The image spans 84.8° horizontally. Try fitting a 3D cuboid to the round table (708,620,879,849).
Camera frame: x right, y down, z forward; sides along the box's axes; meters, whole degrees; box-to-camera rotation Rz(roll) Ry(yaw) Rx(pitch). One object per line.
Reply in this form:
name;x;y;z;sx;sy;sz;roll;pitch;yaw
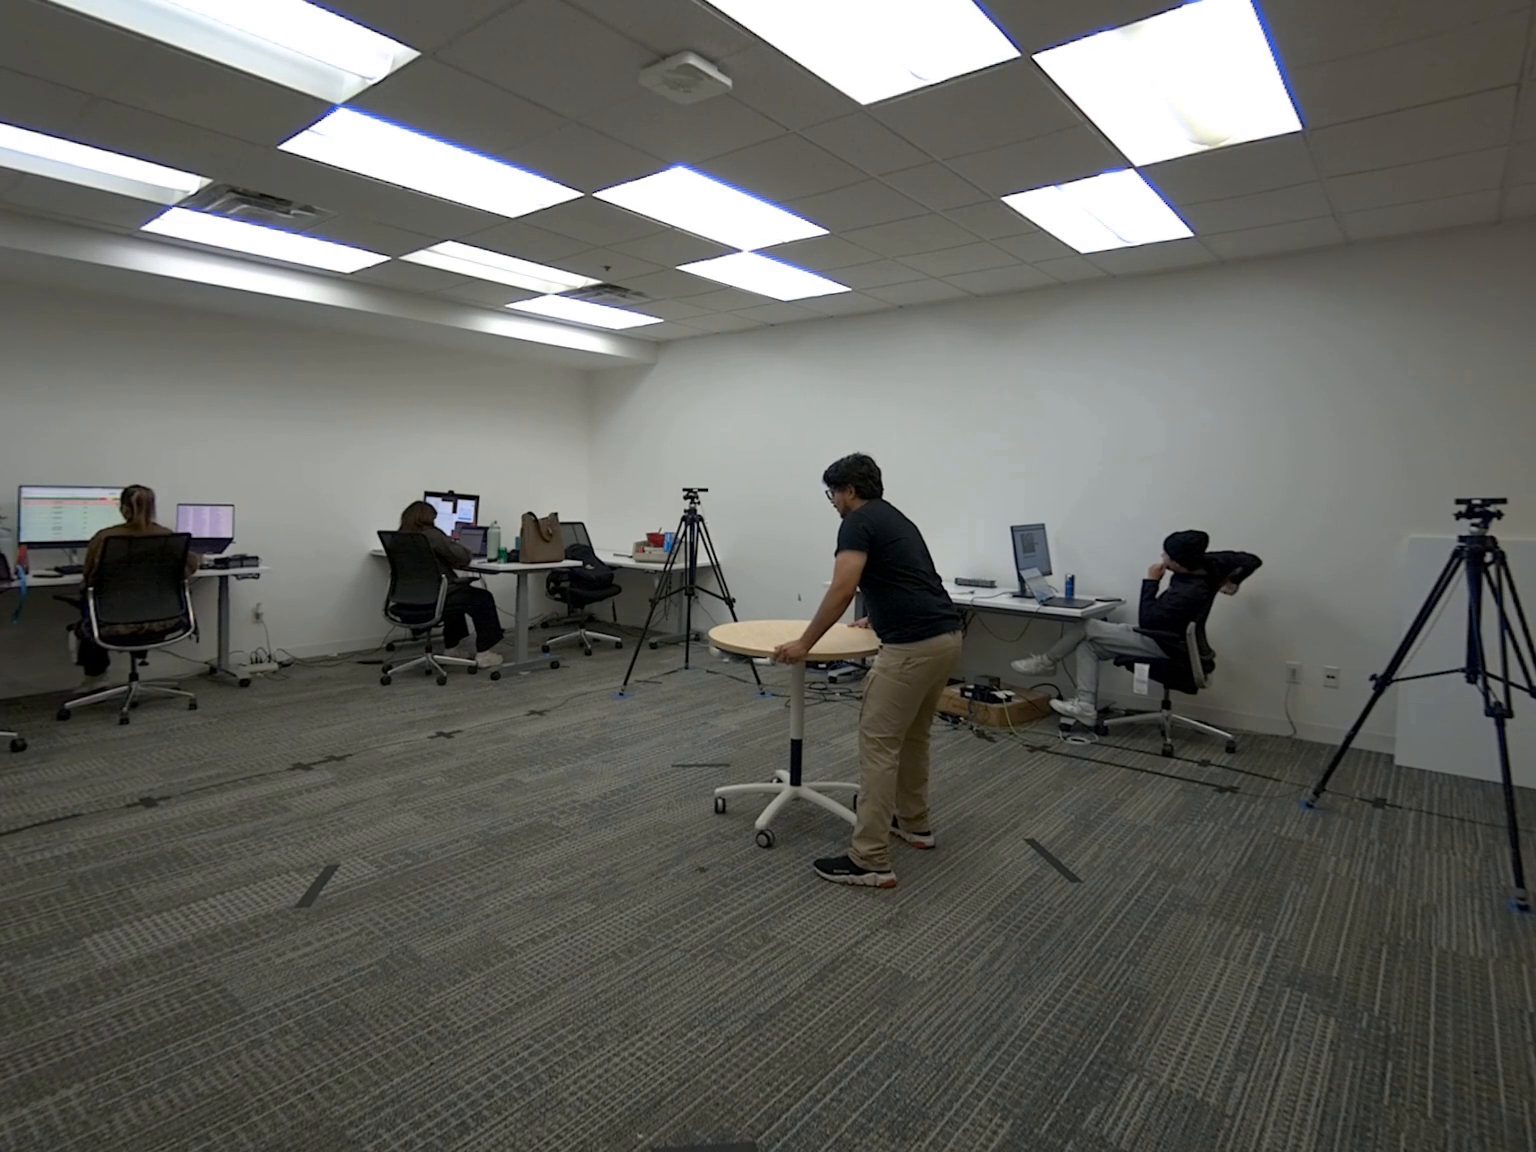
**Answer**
round table;0.100;0.631;3.610;0.784;0.784;0.789;2;4;-2
